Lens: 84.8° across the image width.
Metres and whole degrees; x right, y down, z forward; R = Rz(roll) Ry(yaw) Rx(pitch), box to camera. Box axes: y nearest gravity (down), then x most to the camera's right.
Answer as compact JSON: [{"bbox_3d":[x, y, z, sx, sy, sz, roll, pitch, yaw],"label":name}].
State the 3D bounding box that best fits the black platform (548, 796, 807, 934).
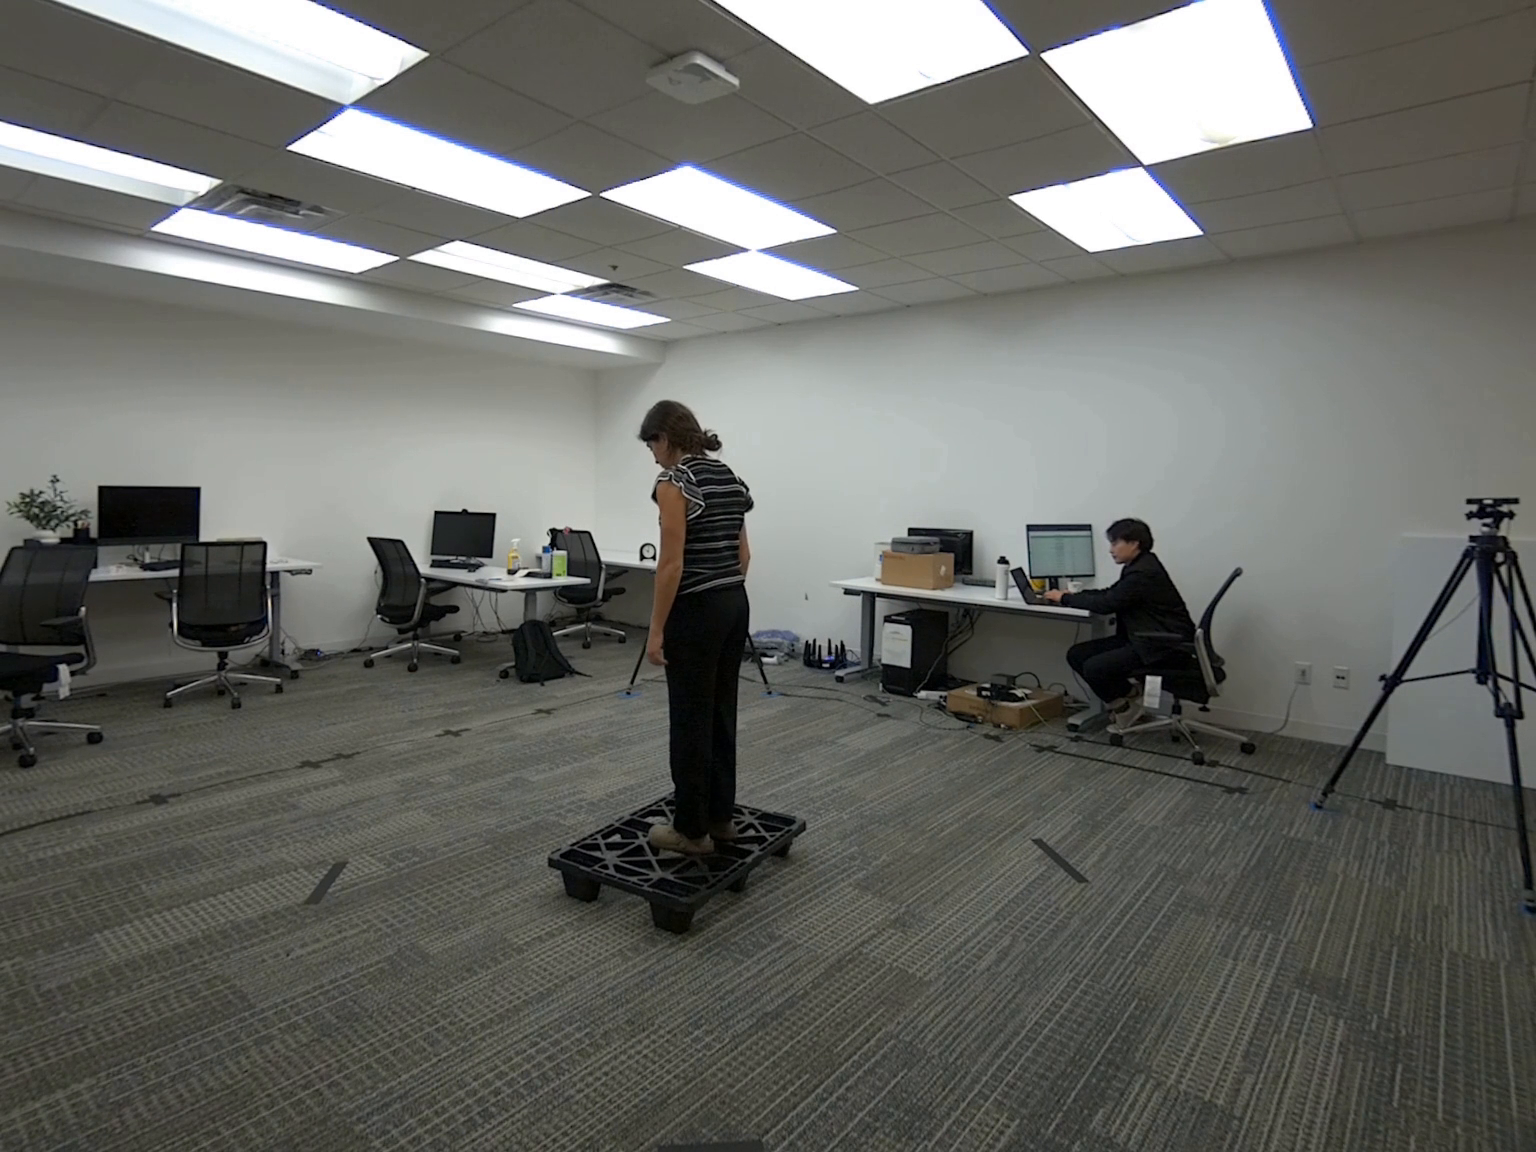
[{"bbox_3d":[-0.315,1.000,3.064,0.623,0.143,0.785,3,6,30],"label":"black platform"}]
